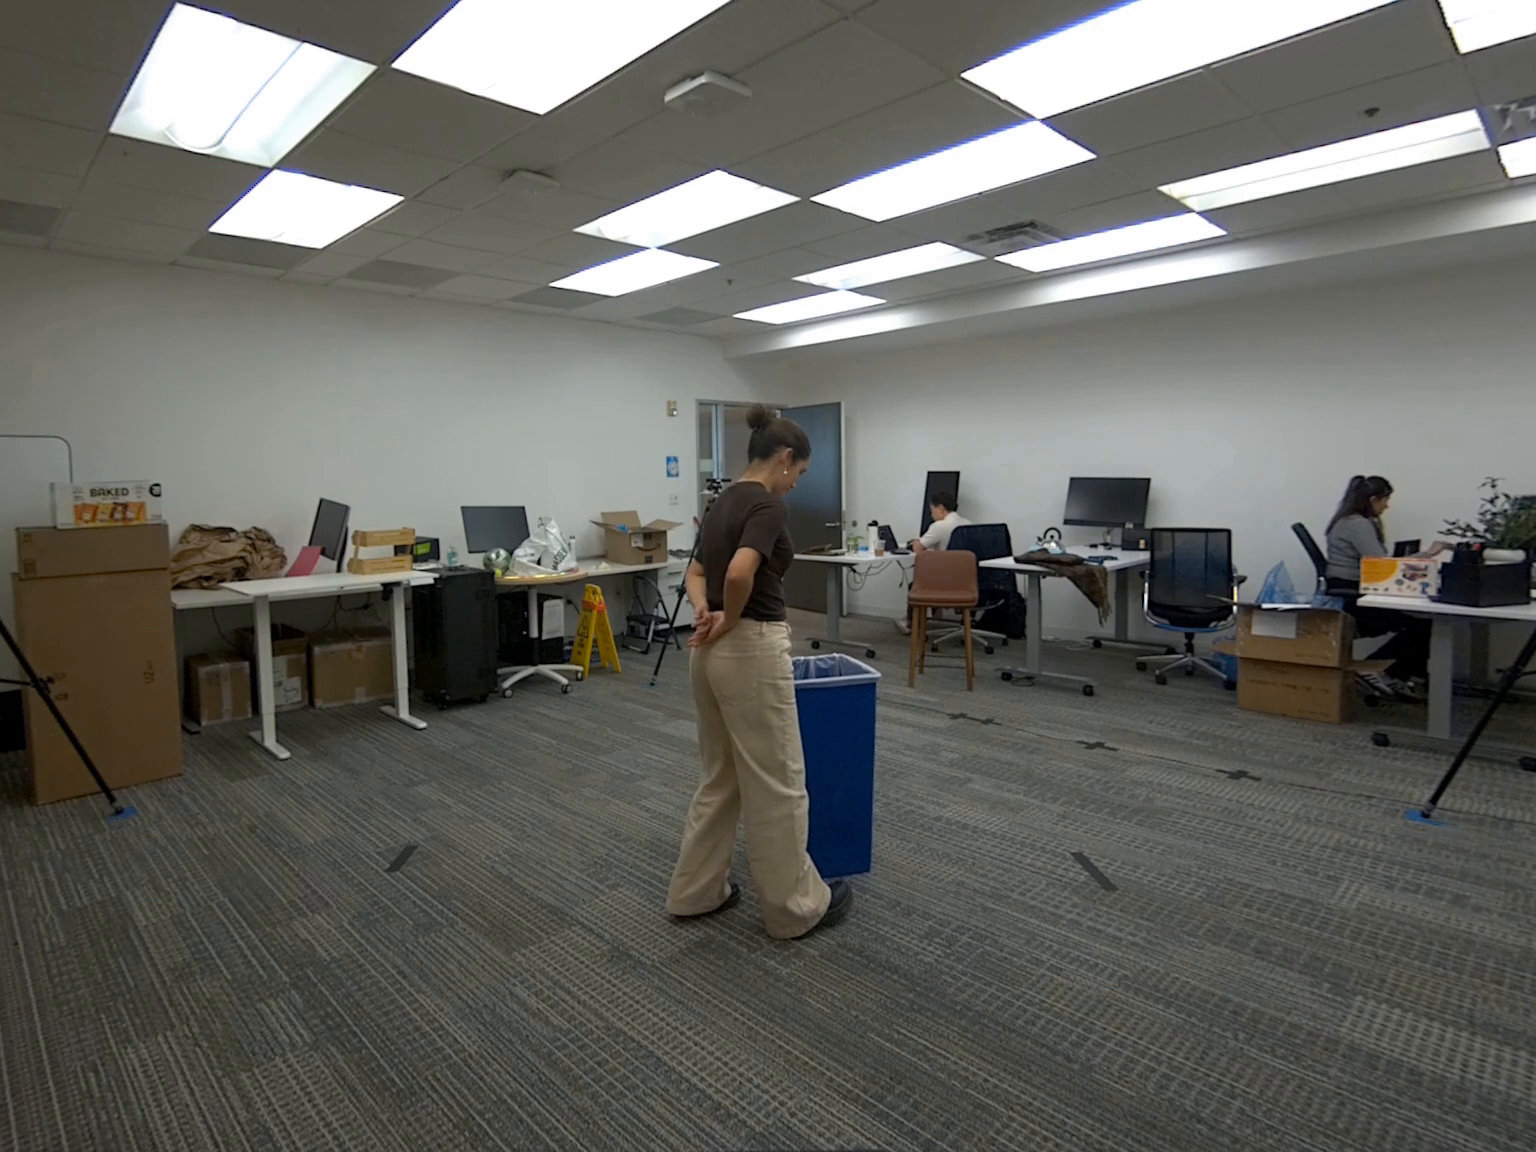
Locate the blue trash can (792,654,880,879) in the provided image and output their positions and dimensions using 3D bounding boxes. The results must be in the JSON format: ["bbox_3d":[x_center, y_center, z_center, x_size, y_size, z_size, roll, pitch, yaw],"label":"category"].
[{"bbox_3d":[0.175,0.682,3.102,0.368,0.711,0.385,-2,4,-18],"label":"blue trash can"}]
